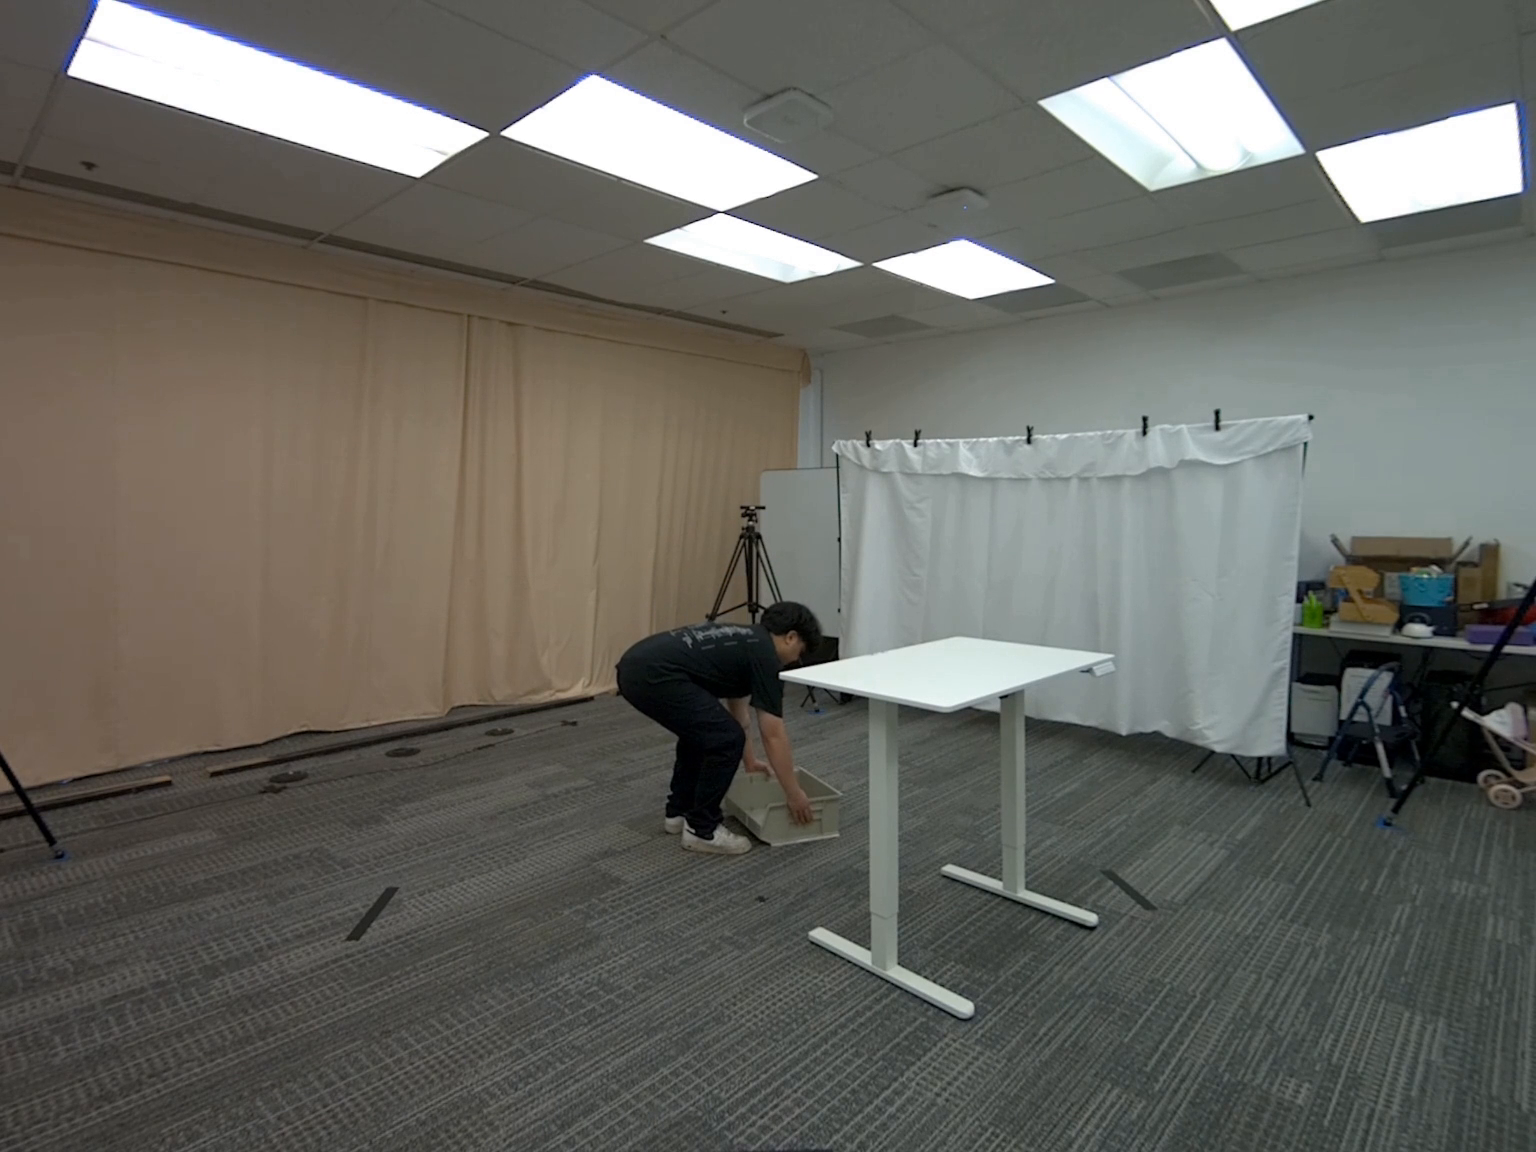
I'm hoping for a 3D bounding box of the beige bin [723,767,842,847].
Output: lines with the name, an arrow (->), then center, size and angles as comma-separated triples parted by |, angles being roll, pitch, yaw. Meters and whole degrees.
beige bin -> 0.057, 0.998, 3.671 | 0.369, 0.188, 0.432 | -1, 4, -23
